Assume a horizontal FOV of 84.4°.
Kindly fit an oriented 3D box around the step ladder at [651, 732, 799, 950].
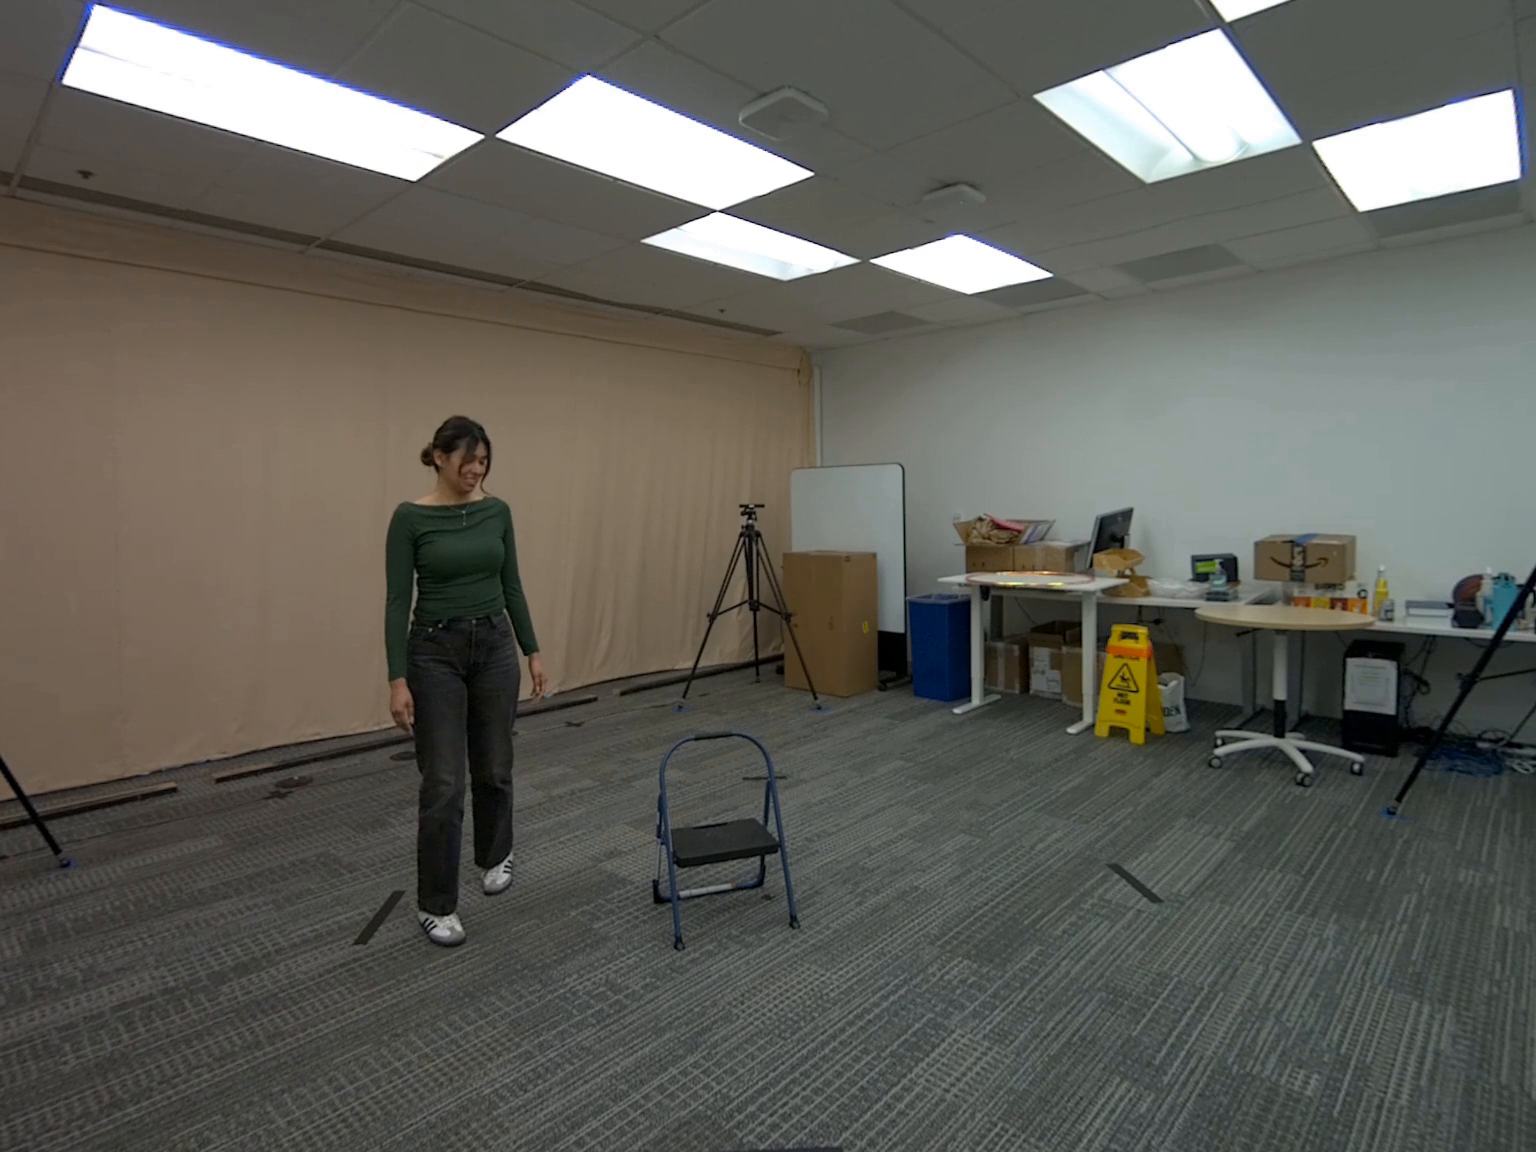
[{"bbox_3d":[-0.153,0.854,2.850,0.423,0.605,0.356,-1,3,-19],"label":"step ladder"}]
